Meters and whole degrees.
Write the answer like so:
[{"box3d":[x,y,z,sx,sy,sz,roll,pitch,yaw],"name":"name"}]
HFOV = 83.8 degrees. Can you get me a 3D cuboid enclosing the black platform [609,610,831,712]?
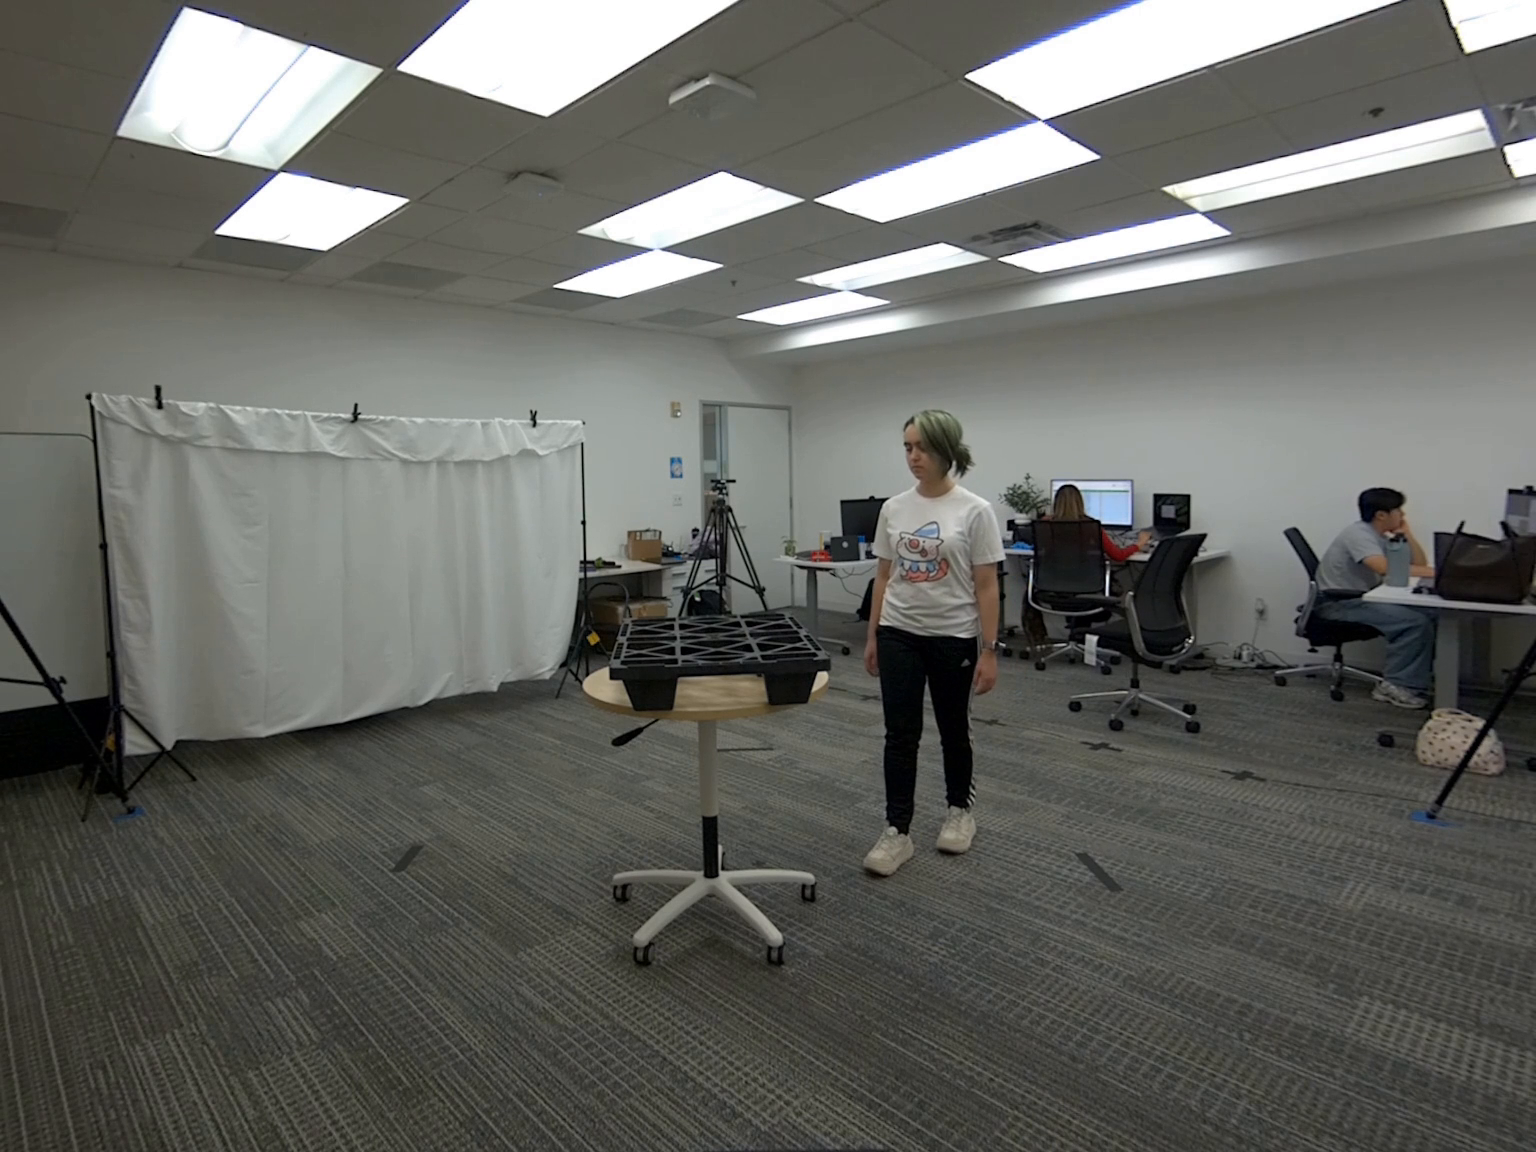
[{"box3d":[-0.166,0.252,2.668,0.603,0.142,0.812,-3,6,-5],"name":"black platform"}]
